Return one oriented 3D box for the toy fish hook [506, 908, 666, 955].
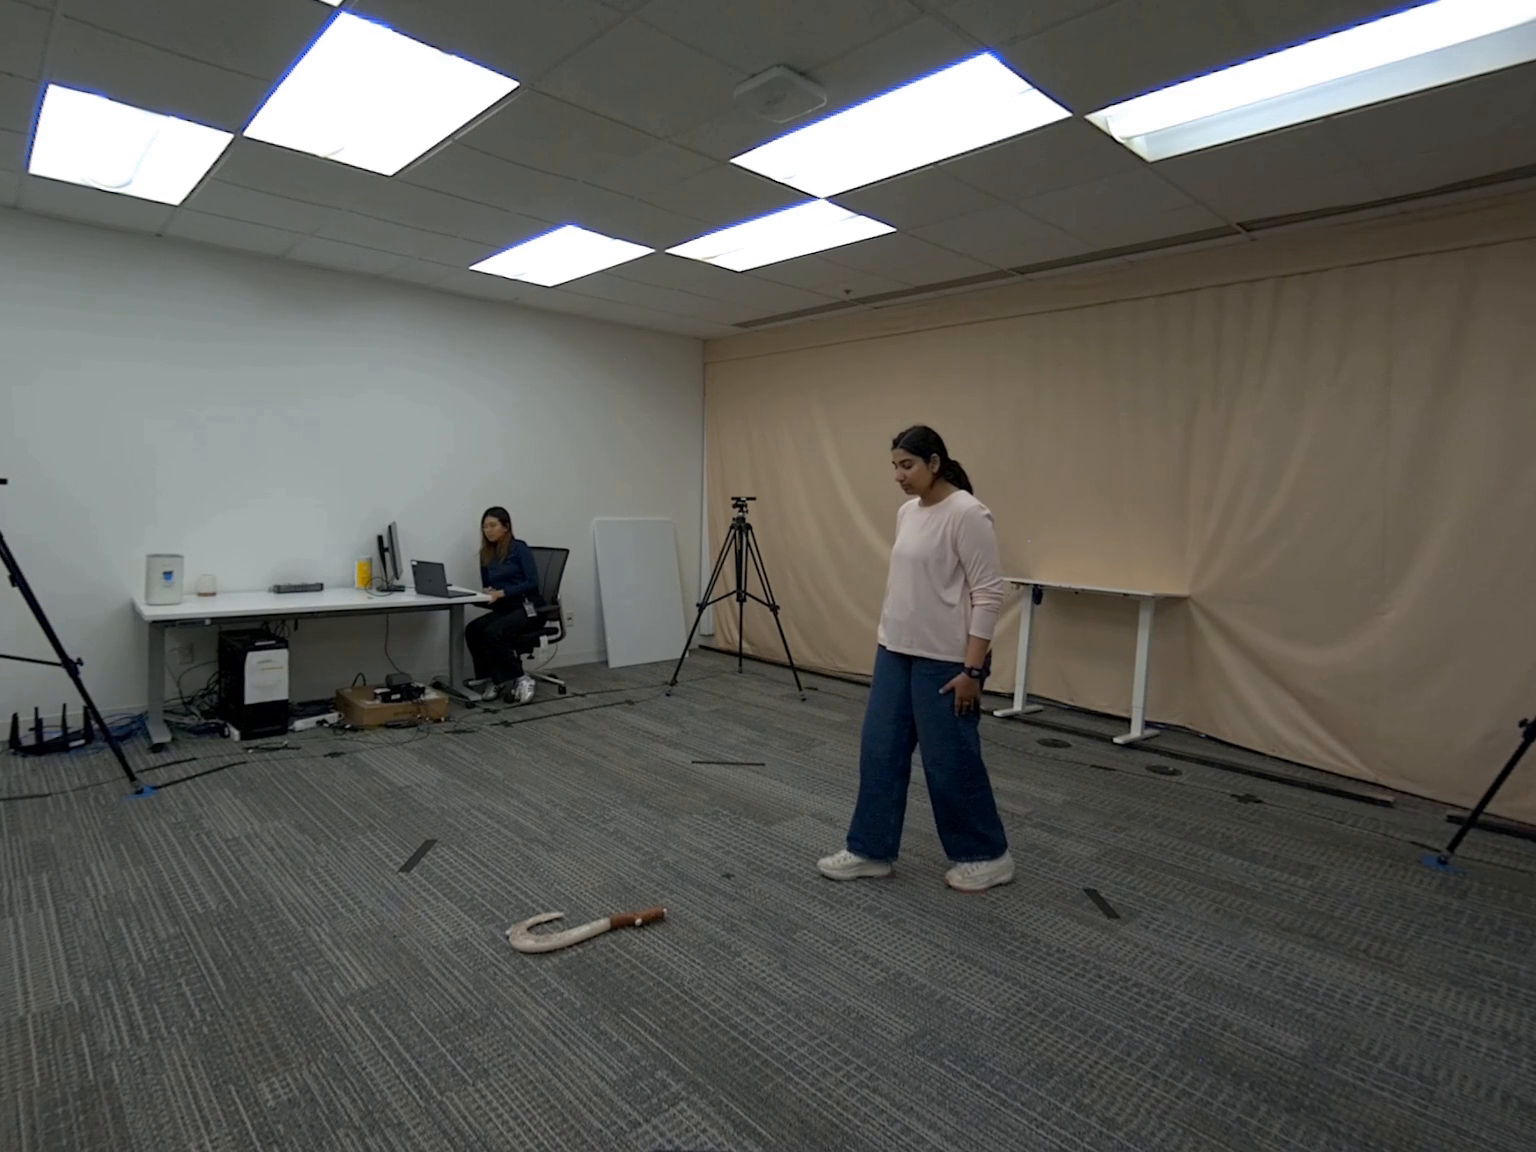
[{"bbox_3d":[-0.583,1.111,2.704,0.497,0.048,0.229,-1,5,-27],"label":"toy fish hook"}]
